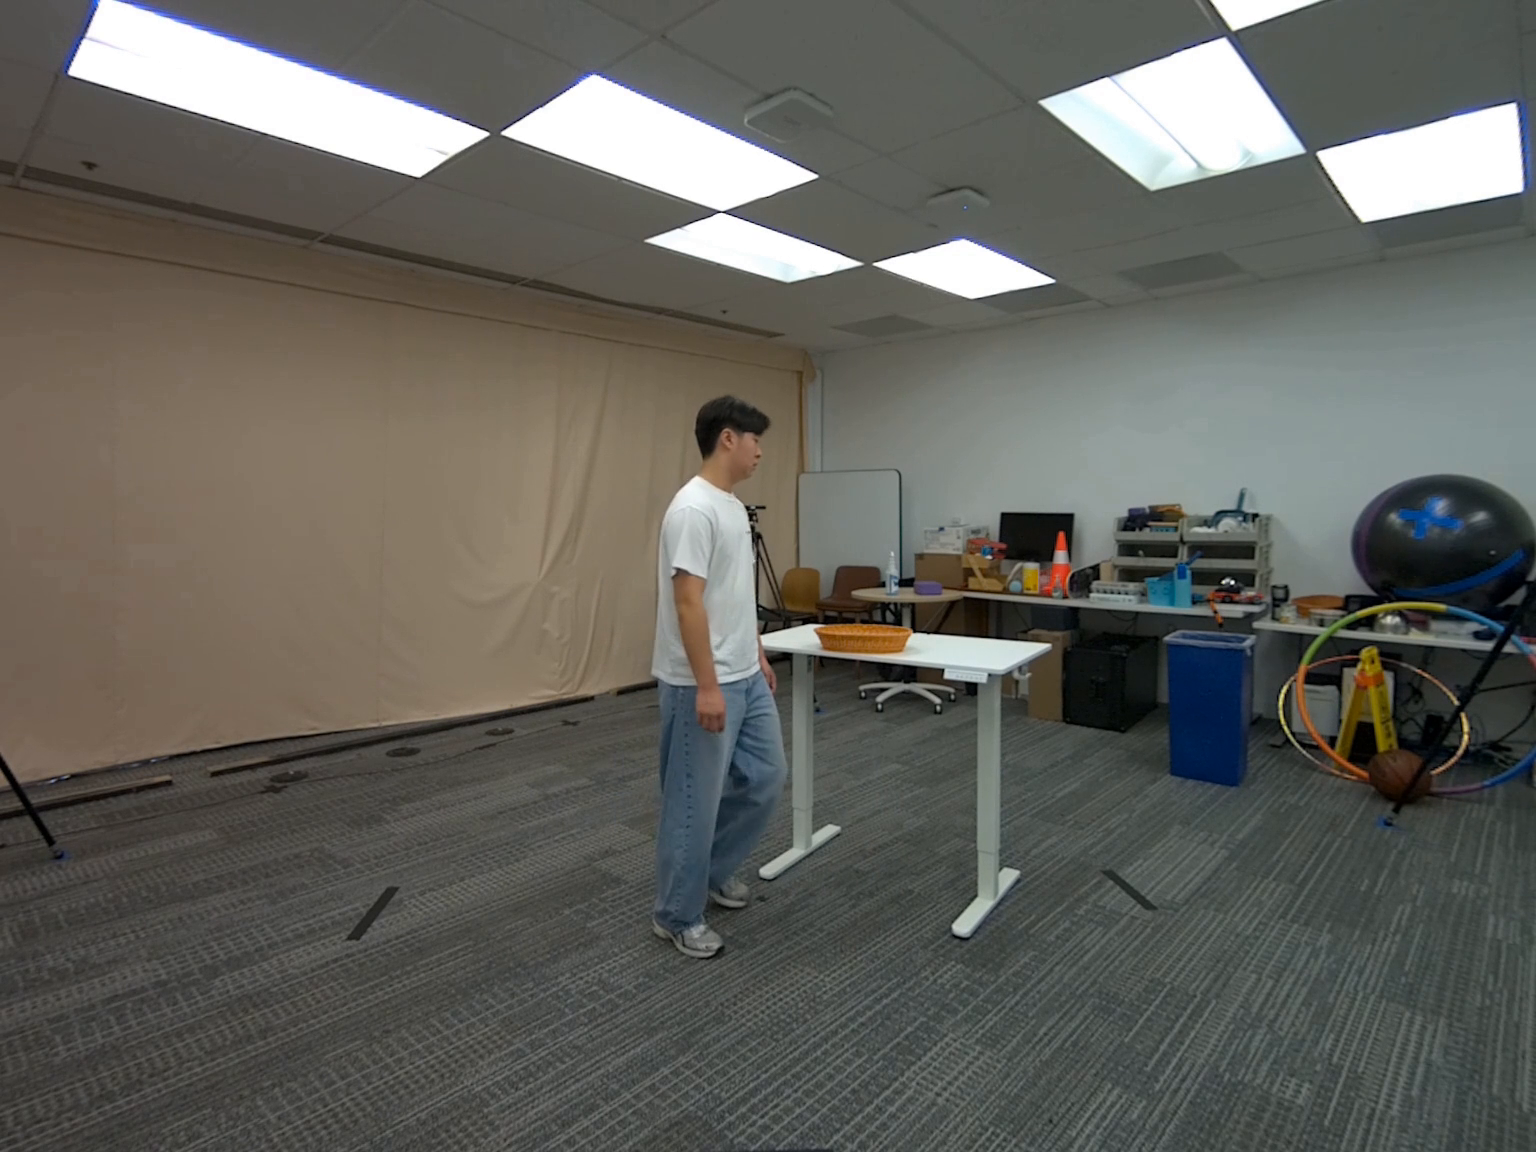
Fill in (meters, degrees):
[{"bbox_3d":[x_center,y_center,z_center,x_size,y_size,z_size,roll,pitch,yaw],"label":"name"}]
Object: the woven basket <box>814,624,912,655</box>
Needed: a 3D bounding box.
[{"bbox_3d":[0.347,0.230,2.976,0.356,0.073,0.249,1,4,14],"label":"woven basket"}]
